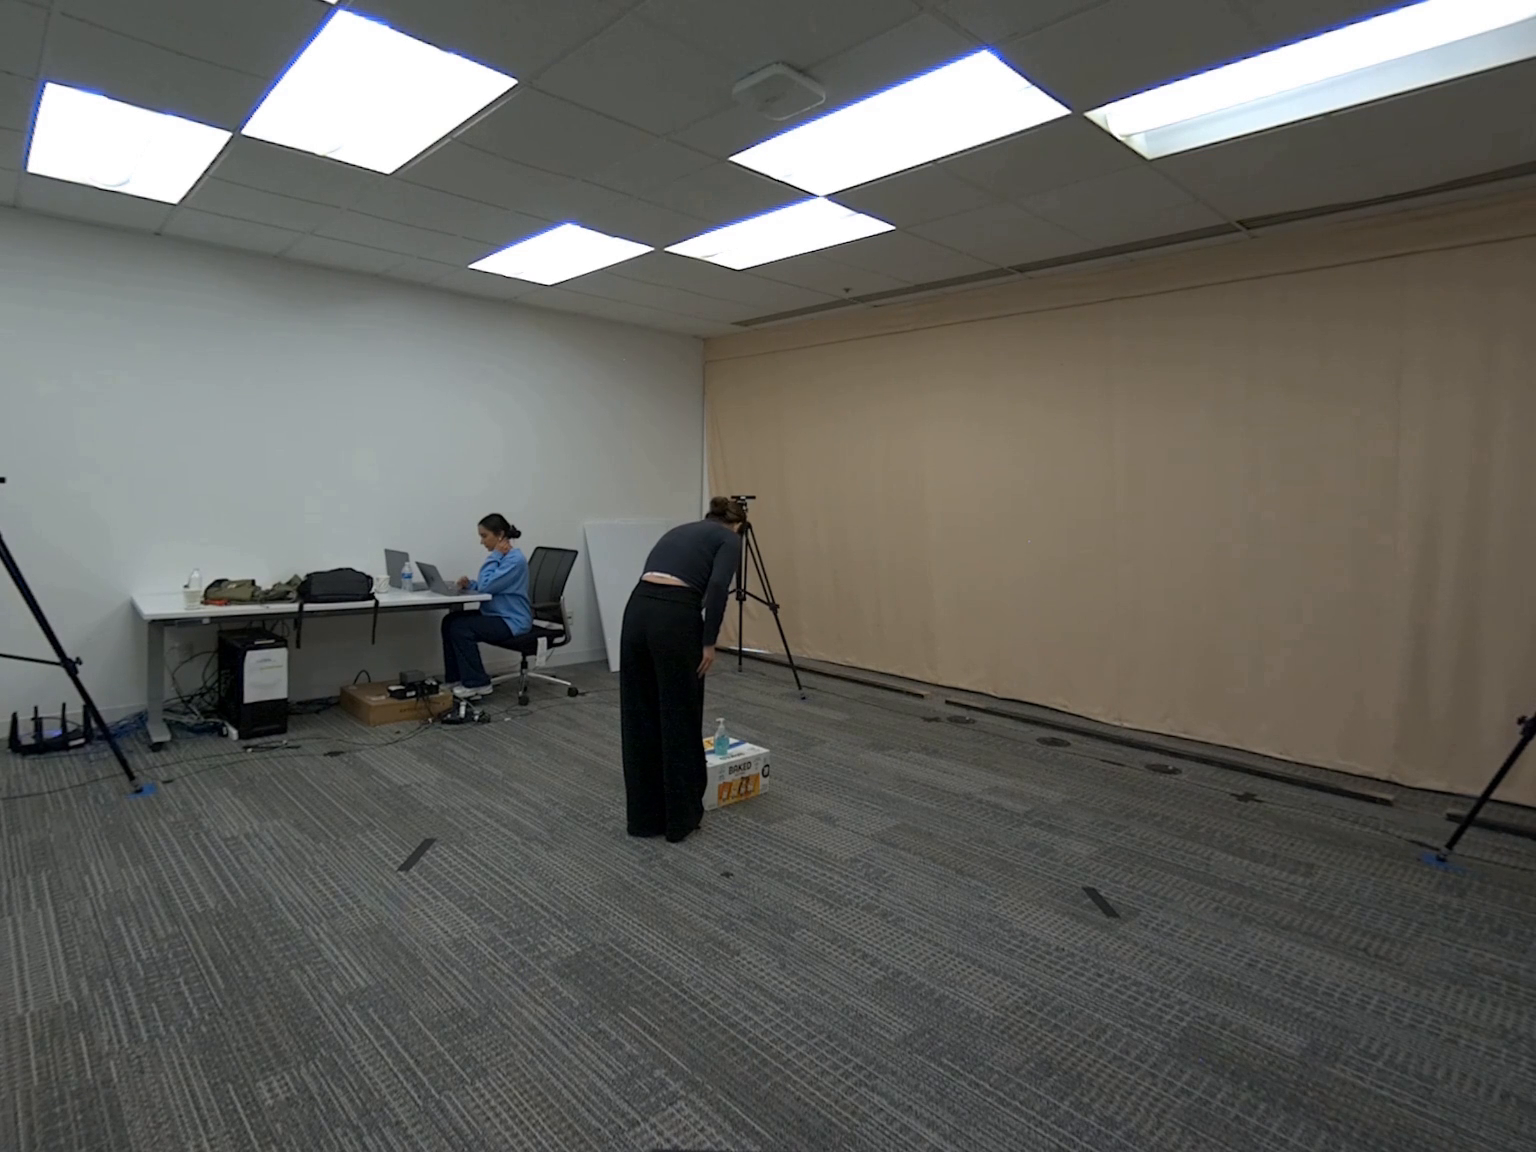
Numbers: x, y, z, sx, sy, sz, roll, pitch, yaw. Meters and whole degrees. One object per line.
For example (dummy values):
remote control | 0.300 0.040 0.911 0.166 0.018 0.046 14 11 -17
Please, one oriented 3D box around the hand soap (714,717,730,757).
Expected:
hand soap | -0.225 0.749 3.935 0.082 0.168 0.044 4 -3 -40
